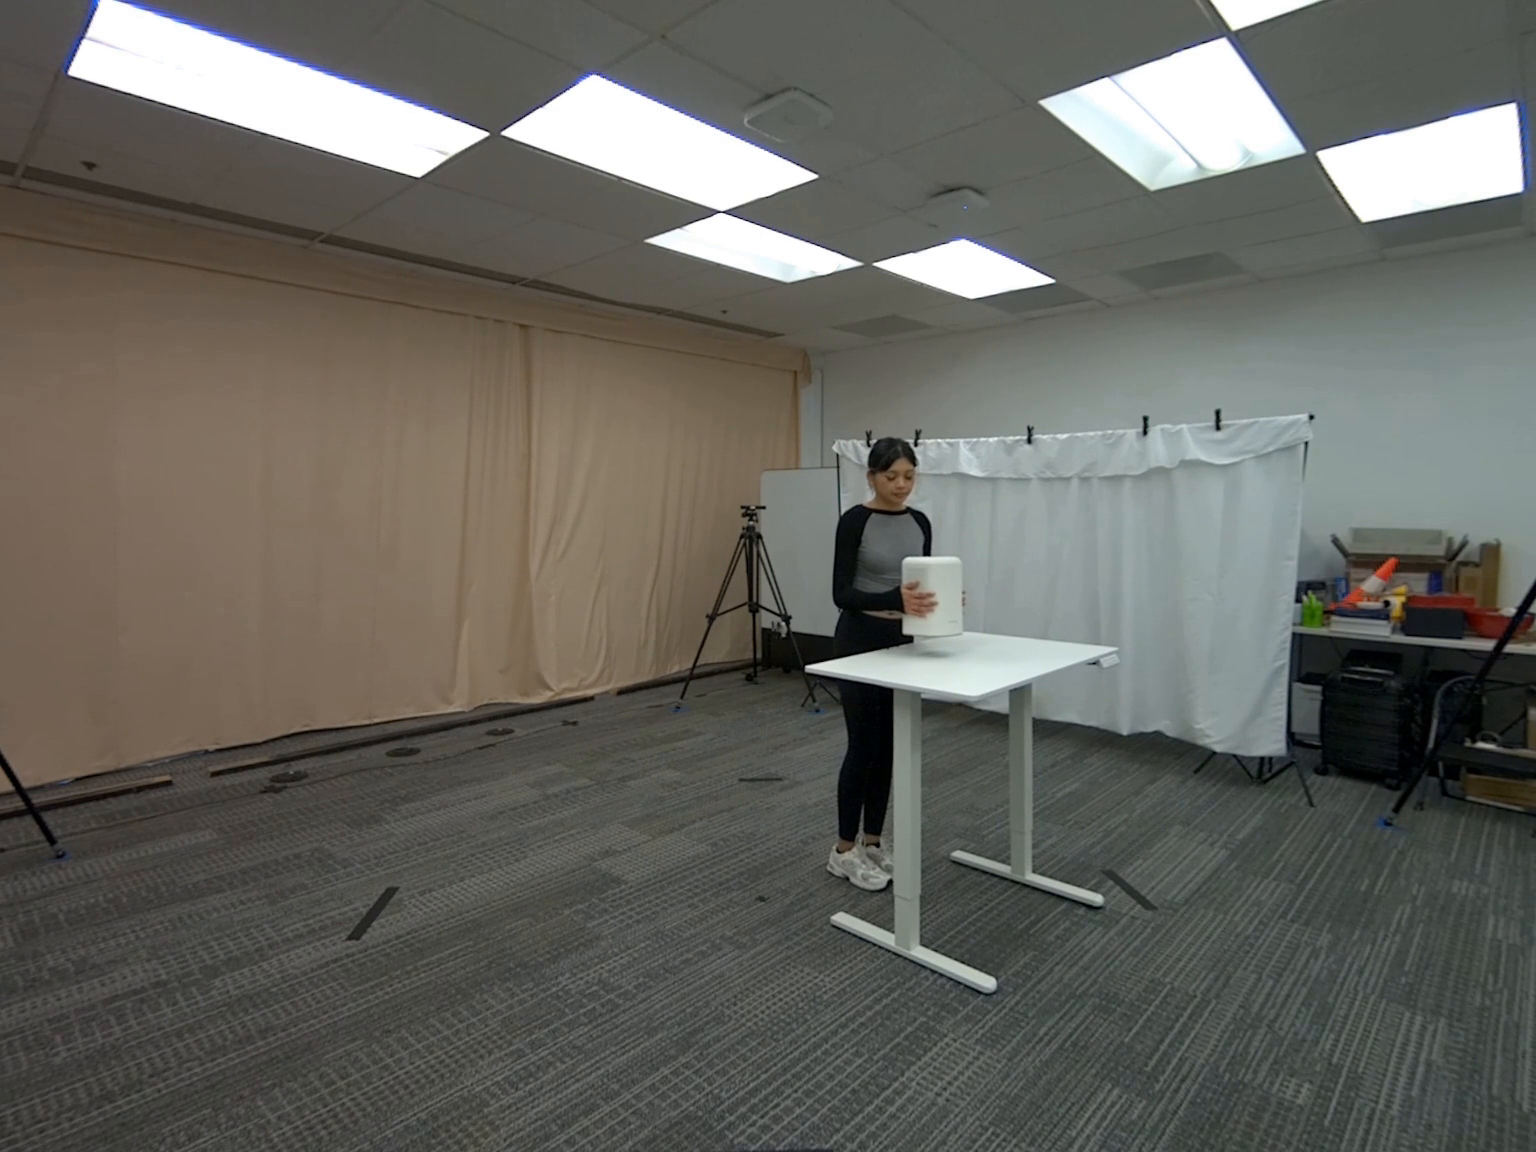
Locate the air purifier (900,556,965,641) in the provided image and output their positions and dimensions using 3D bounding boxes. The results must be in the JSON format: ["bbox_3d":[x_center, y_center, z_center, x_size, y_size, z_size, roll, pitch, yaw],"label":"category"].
[{"bbox_3d":[0.559,0.067,2.868,0.166,0.265,0.177,-2,1,-38],"label":"air purifier"}]
